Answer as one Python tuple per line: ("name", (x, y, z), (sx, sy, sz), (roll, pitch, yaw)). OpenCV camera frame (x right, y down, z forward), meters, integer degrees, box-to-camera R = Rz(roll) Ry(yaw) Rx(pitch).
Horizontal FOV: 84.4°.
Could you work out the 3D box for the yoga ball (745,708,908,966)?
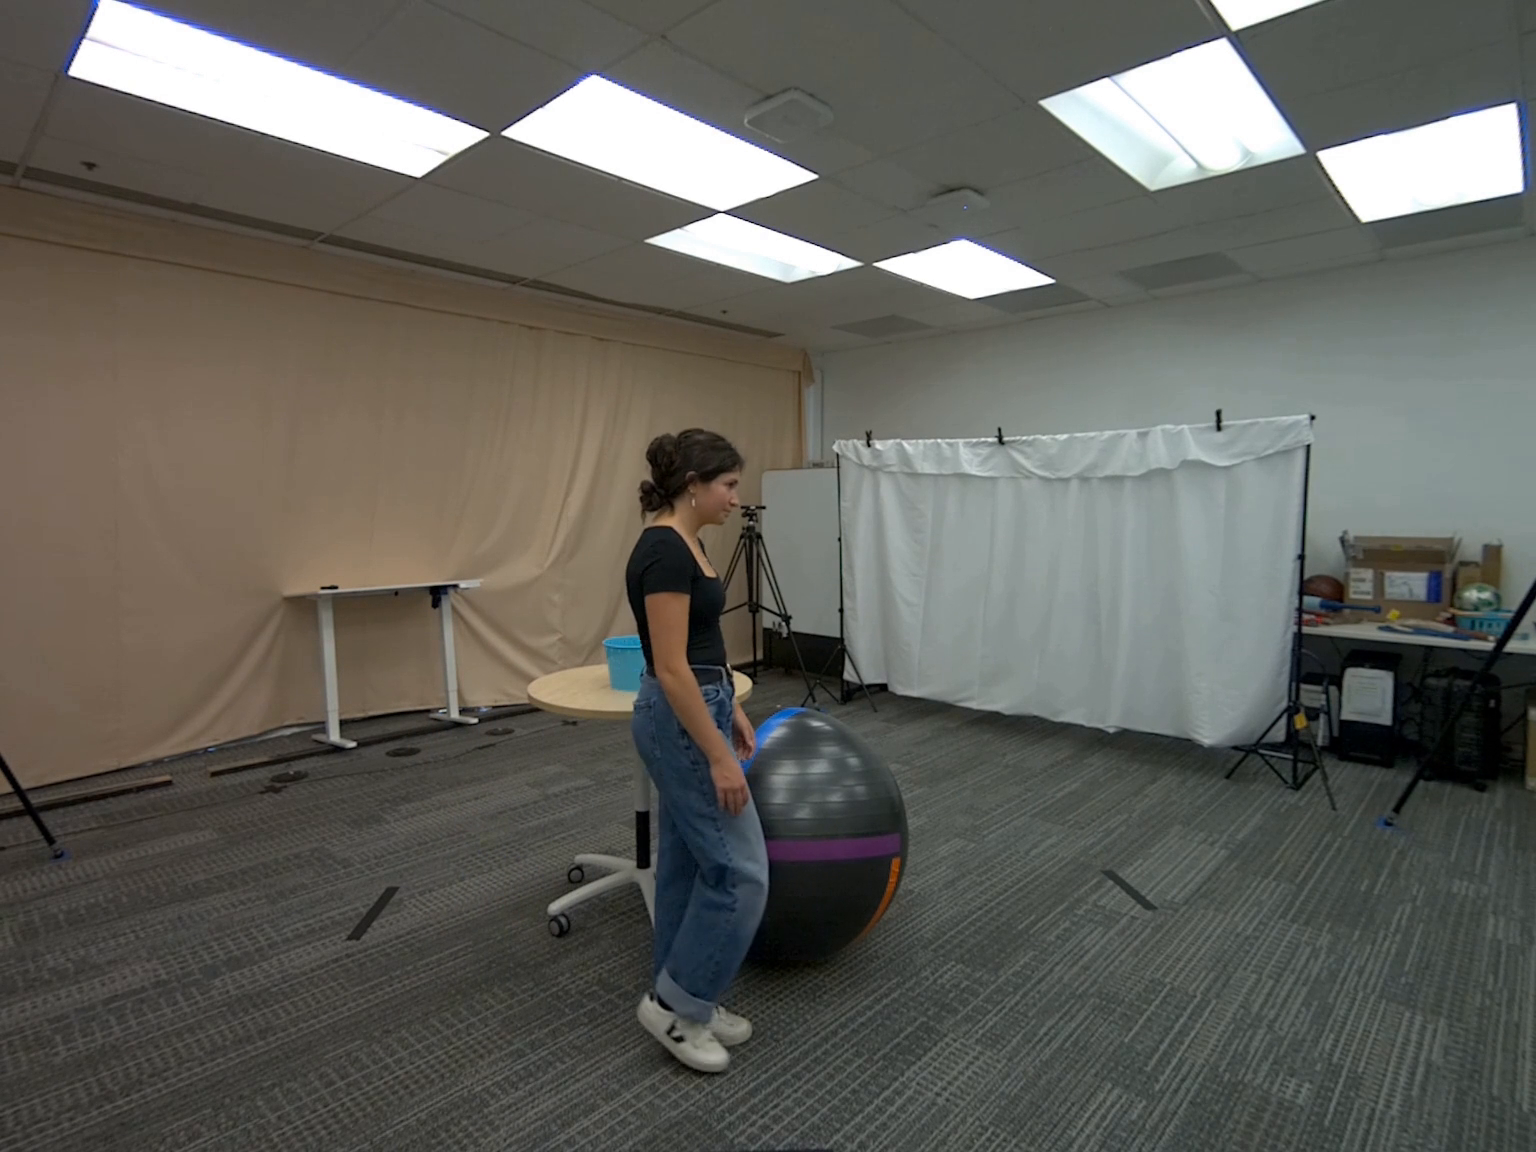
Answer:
("yoga ball", (0.065, 0.809, 2.660), (0.757, 0.756, 0.760), (0, 4, -2))
